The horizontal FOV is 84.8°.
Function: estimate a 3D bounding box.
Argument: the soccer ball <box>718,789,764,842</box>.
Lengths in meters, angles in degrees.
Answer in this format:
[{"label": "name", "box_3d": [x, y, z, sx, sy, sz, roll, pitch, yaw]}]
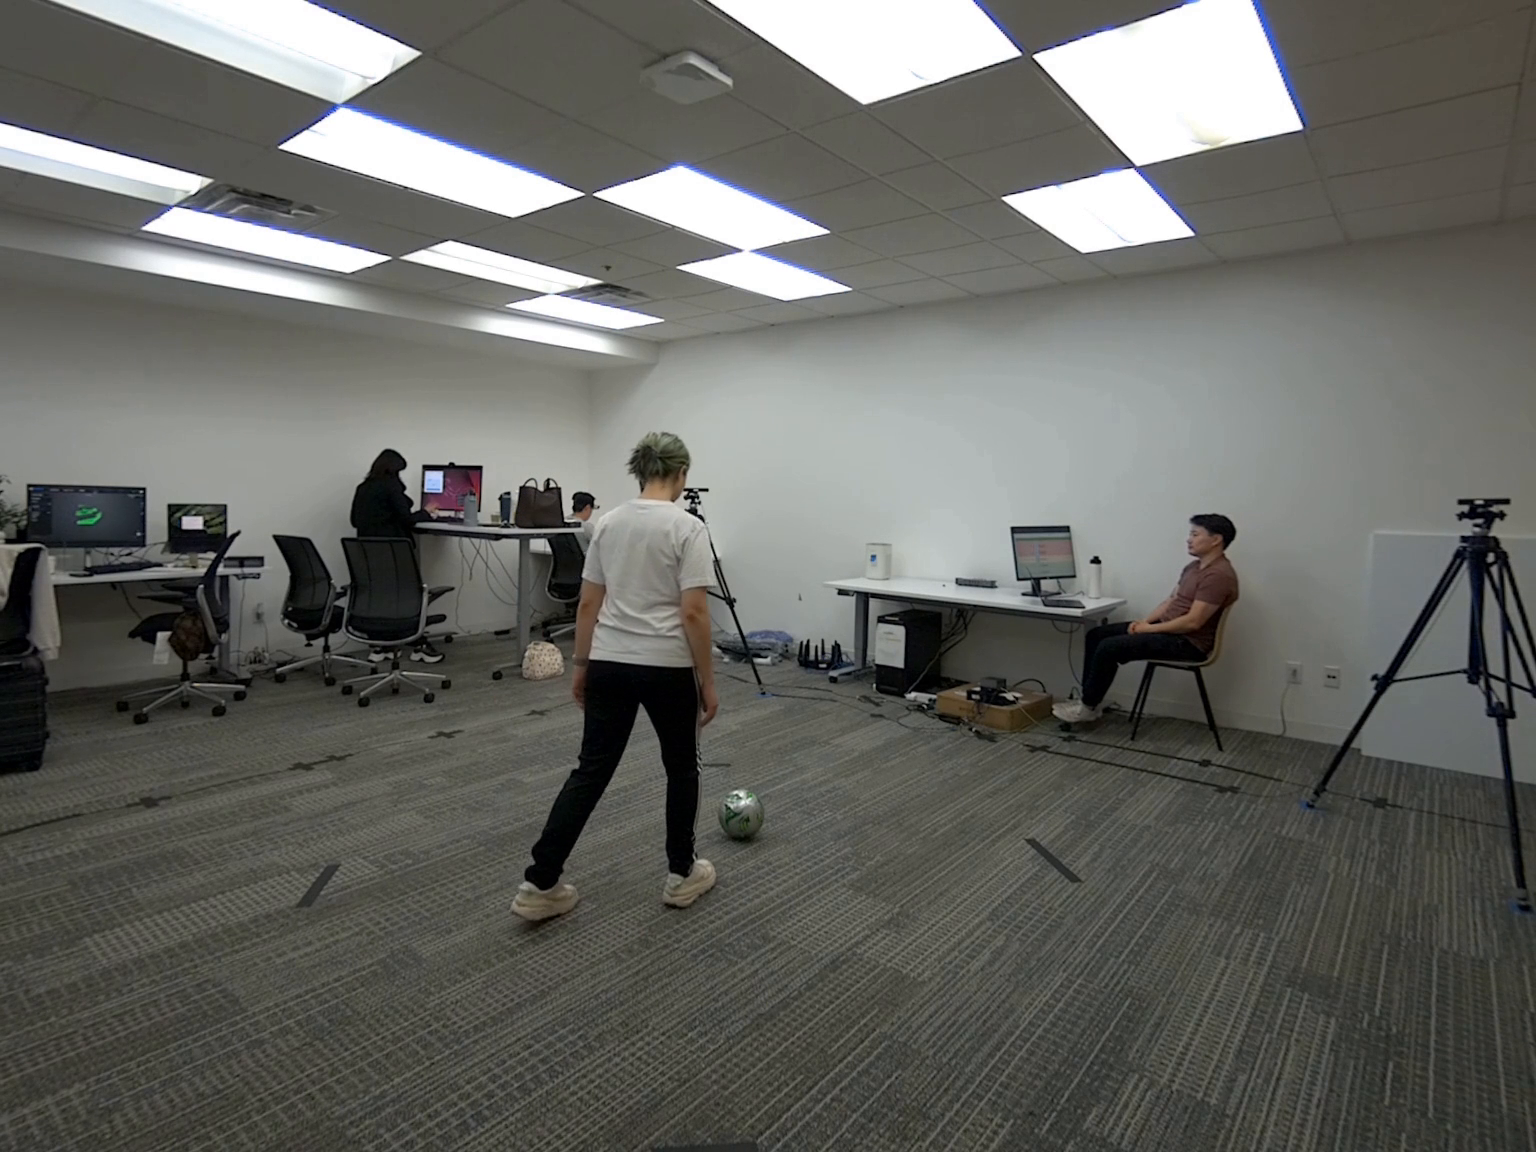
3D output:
[{"label": "soccer ball", "box_3d": [-0.113, 0.948, 3.400, 0.187, 0.187, 0.188, 1, 4, -2]}]
